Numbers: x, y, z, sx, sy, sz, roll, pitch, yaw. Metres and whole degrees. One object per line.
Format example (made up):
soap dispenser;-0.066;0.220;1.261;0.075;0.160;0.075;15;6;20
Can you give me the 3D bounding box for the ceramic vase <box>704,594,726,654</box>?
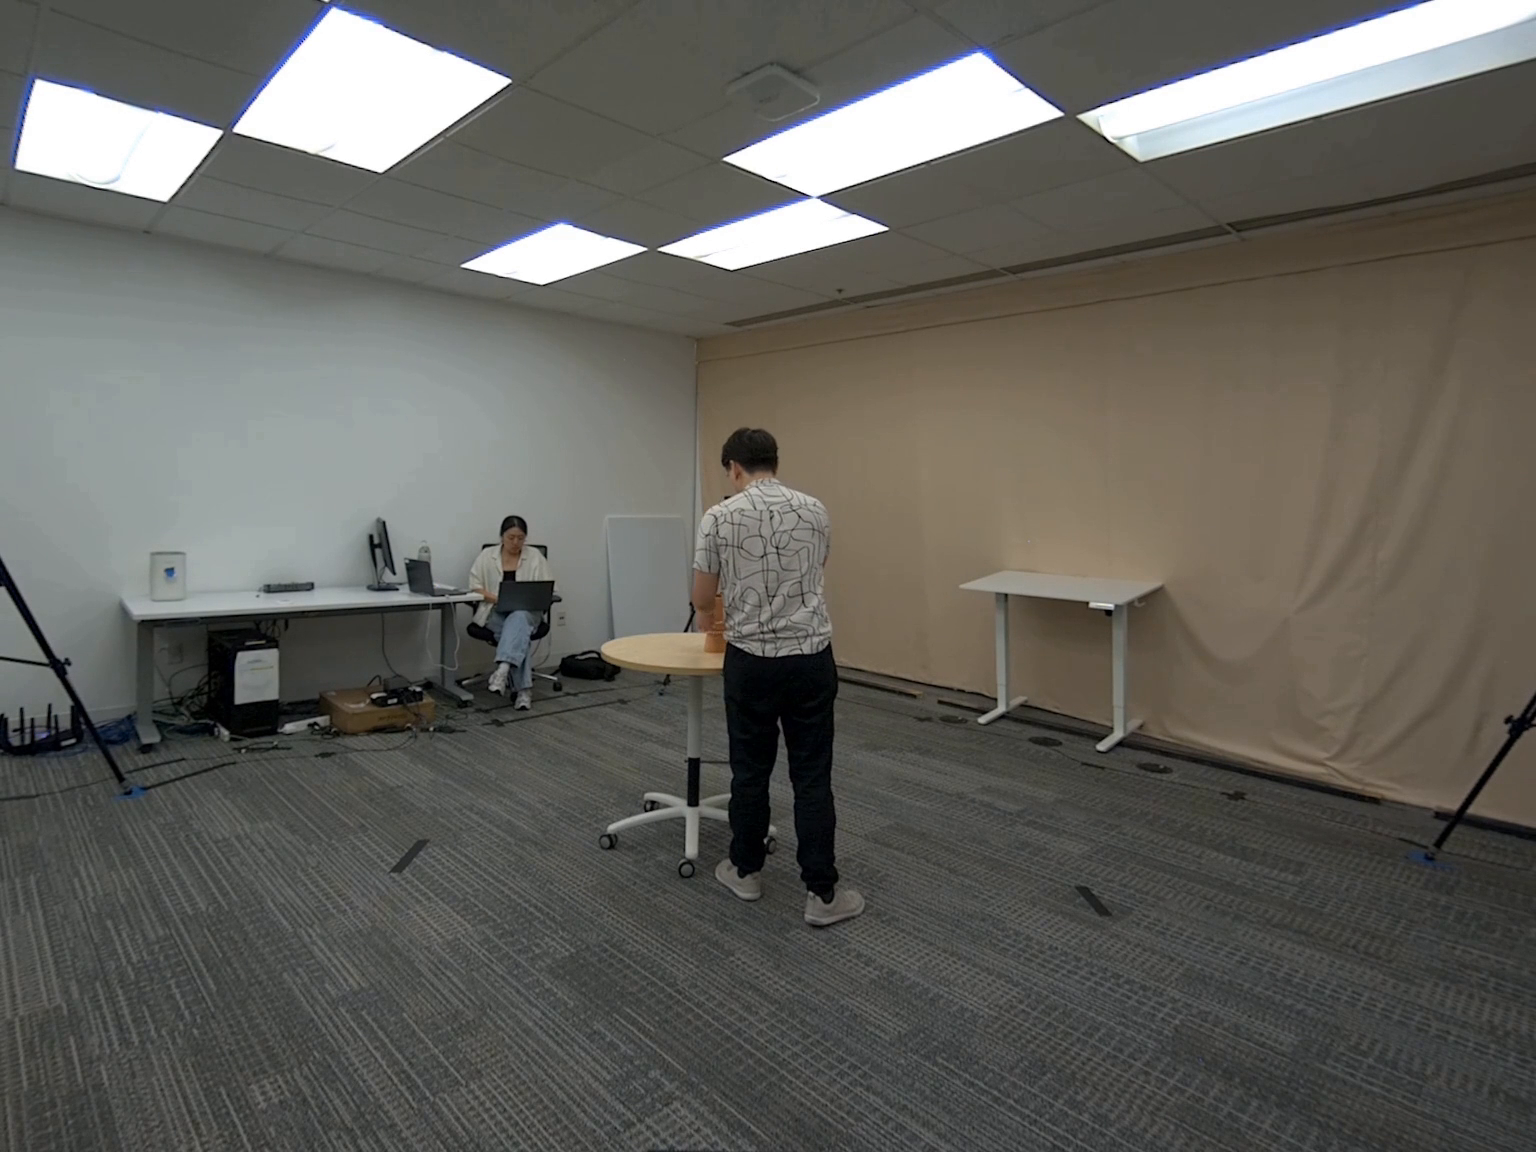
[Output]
ceramic vase;-0.207;0.193;3.342;0.157;0.219;0.136;1;4;-14
